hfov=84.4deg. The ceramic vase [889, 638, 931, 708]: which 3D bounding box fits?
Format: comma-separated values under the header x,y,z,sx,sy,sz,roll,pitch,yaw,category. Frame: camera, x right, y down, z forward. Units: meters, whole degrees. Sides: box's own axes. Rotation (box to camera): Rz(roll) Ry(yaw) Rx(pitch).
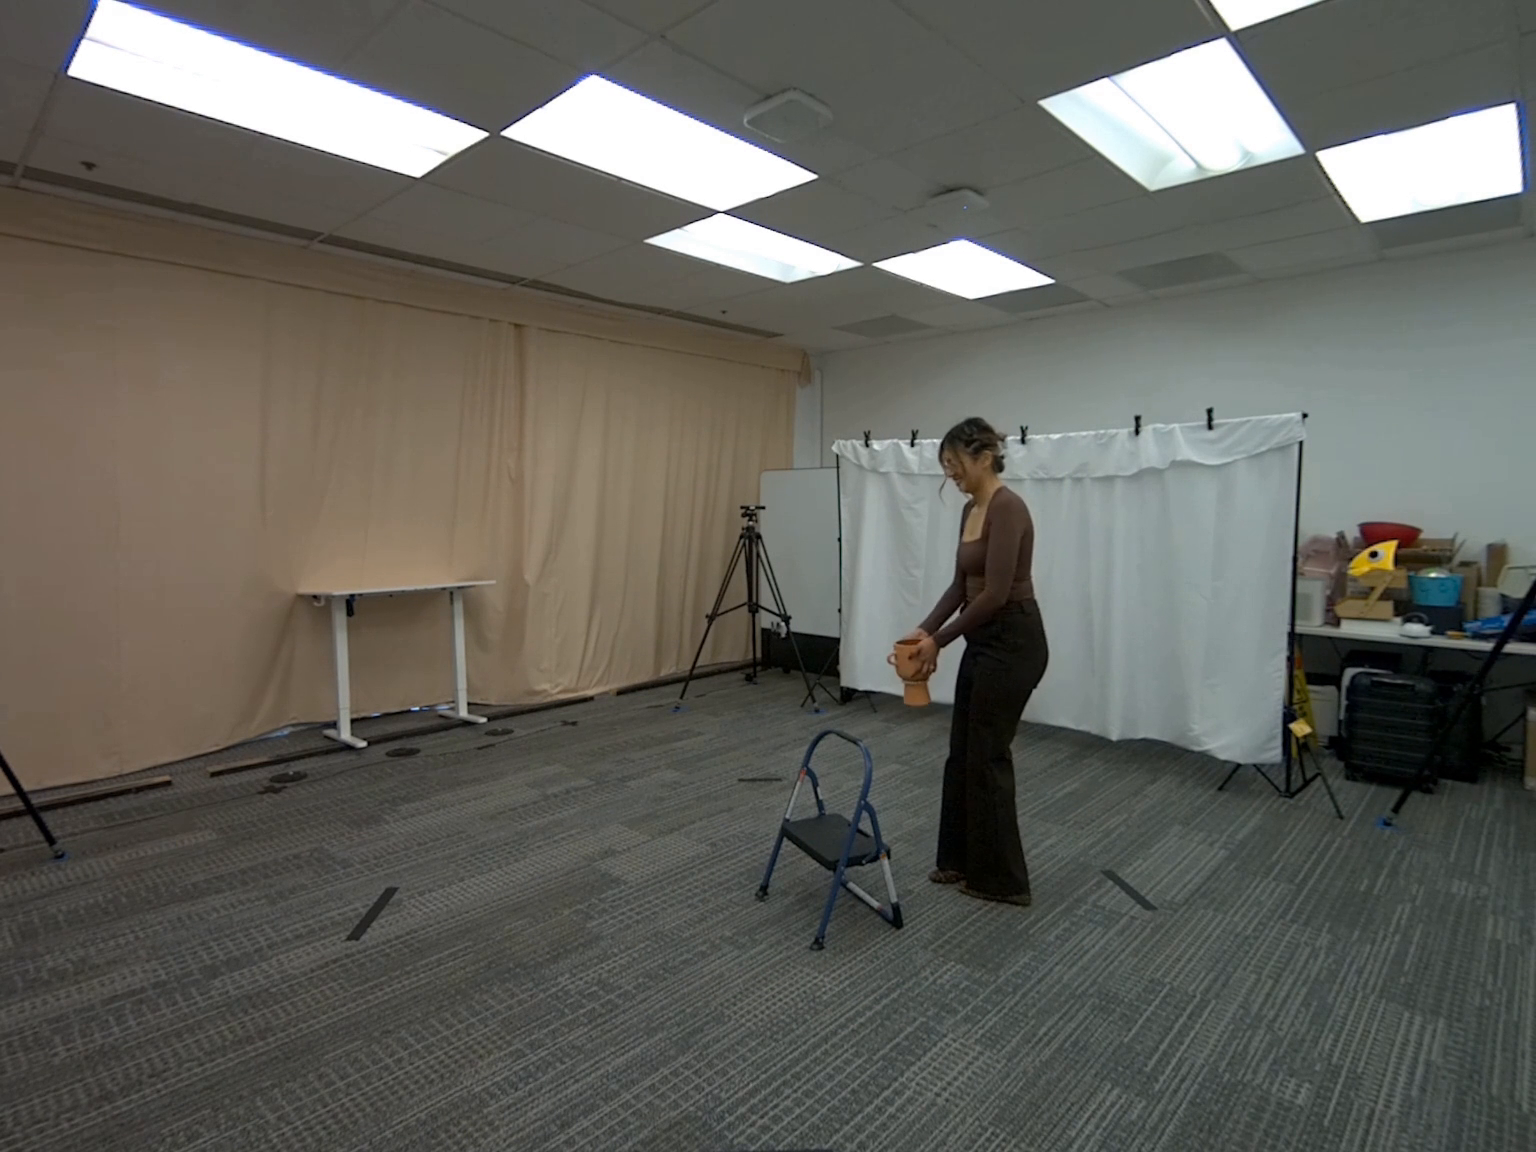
x,y,z,sx,sy,sz,roll,pitch,yaw,category
0.529,0.350,3.012,0.163,0.219,0.131,-3,4,29,ceramic vase
